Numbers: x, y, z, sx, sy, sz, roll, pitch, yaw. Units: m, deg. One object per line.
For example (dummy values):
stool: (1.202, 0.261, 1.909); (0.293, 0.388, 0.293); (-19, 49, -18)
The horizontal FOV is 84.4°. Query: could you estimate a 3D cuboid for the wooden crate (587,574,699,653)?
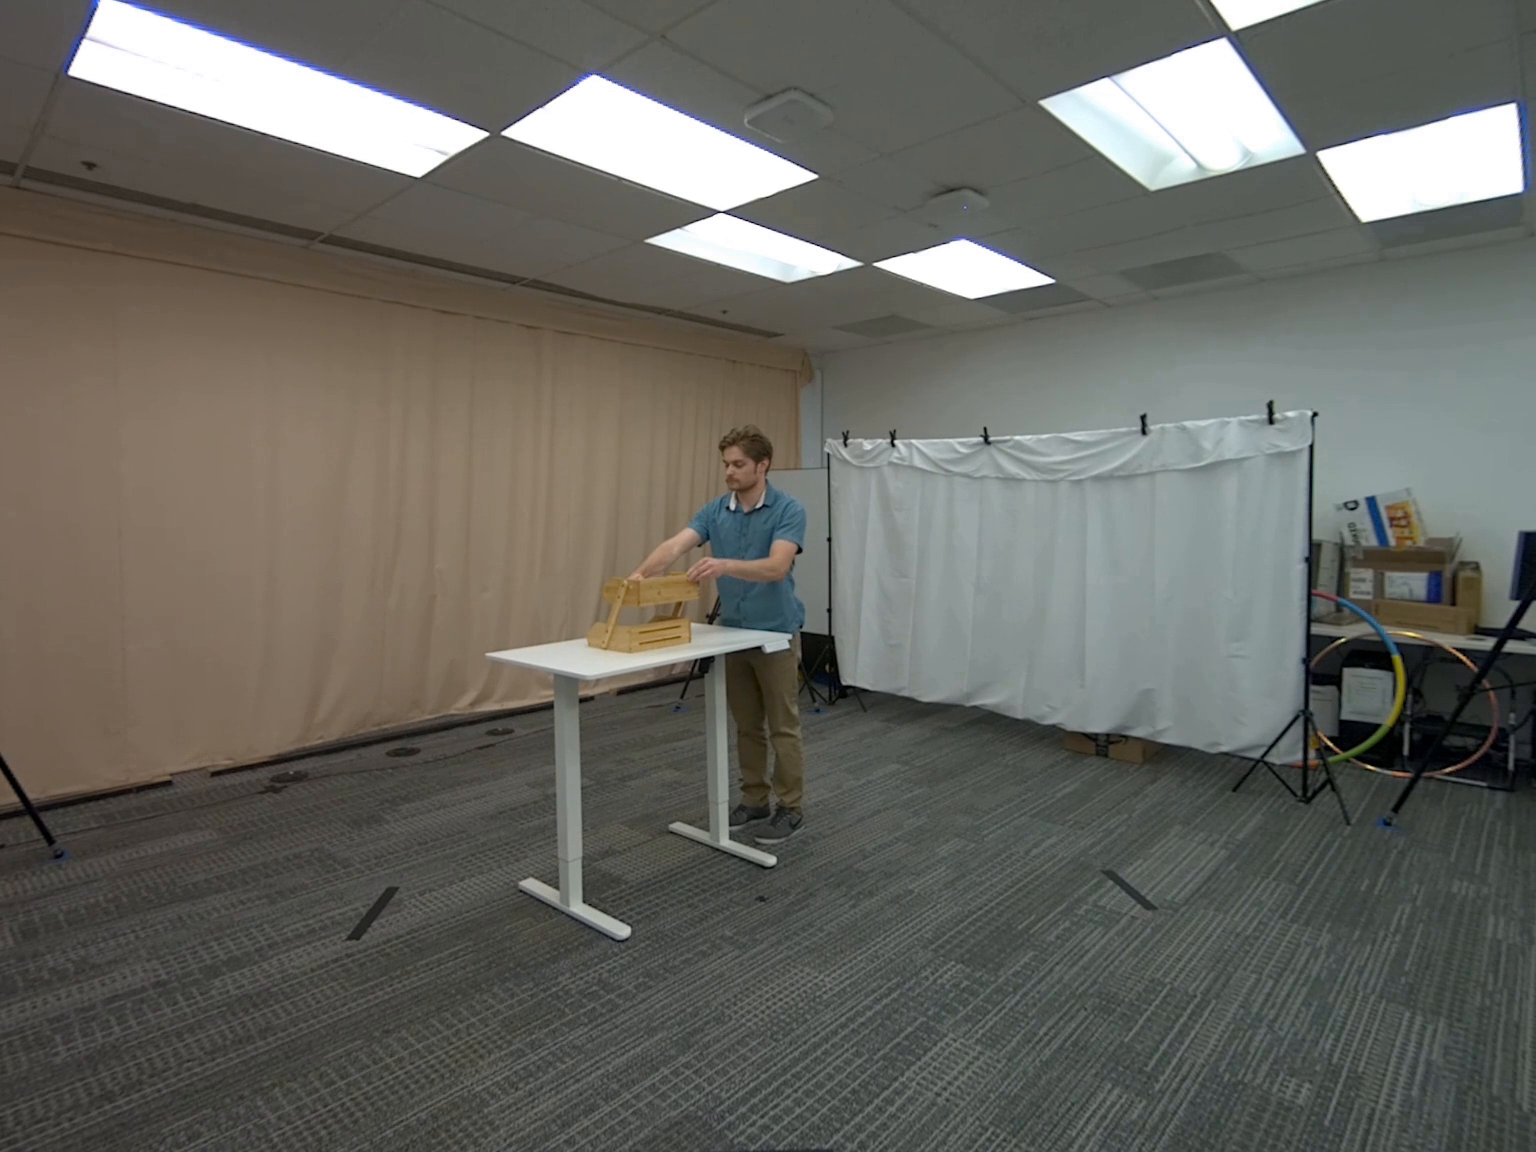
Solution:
wooden crate: (-0.464, 0.125, 3.102); (0.312, 0.272, 0.315); (3, 6, 42)
